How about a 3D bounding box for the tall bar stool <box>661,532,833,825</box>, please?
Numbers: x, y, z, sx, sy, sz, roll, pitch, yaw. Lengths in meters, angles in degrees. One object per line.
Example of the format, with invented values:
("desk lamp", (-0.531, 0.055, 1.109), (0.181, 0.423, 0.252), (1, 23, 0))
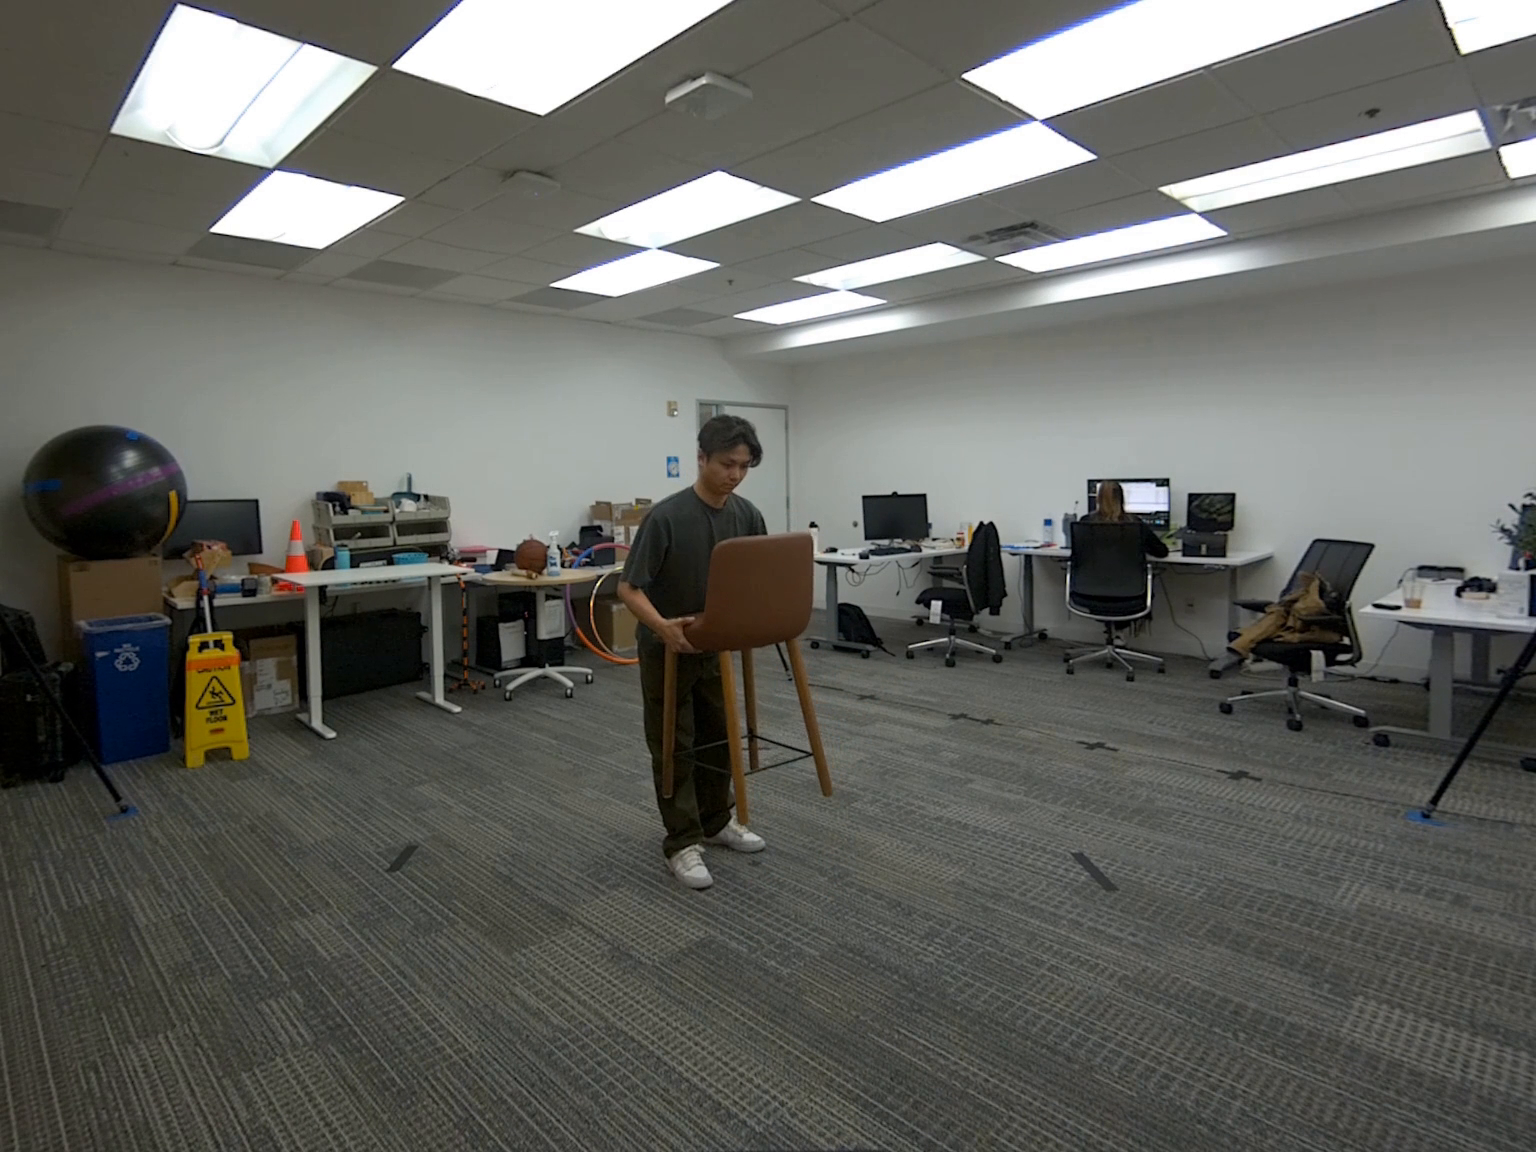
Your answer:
("tall bar stool", (-0.095, 0.313, 2.869), (0.445, 0.887, 0.480), (-6, 4, -36))
